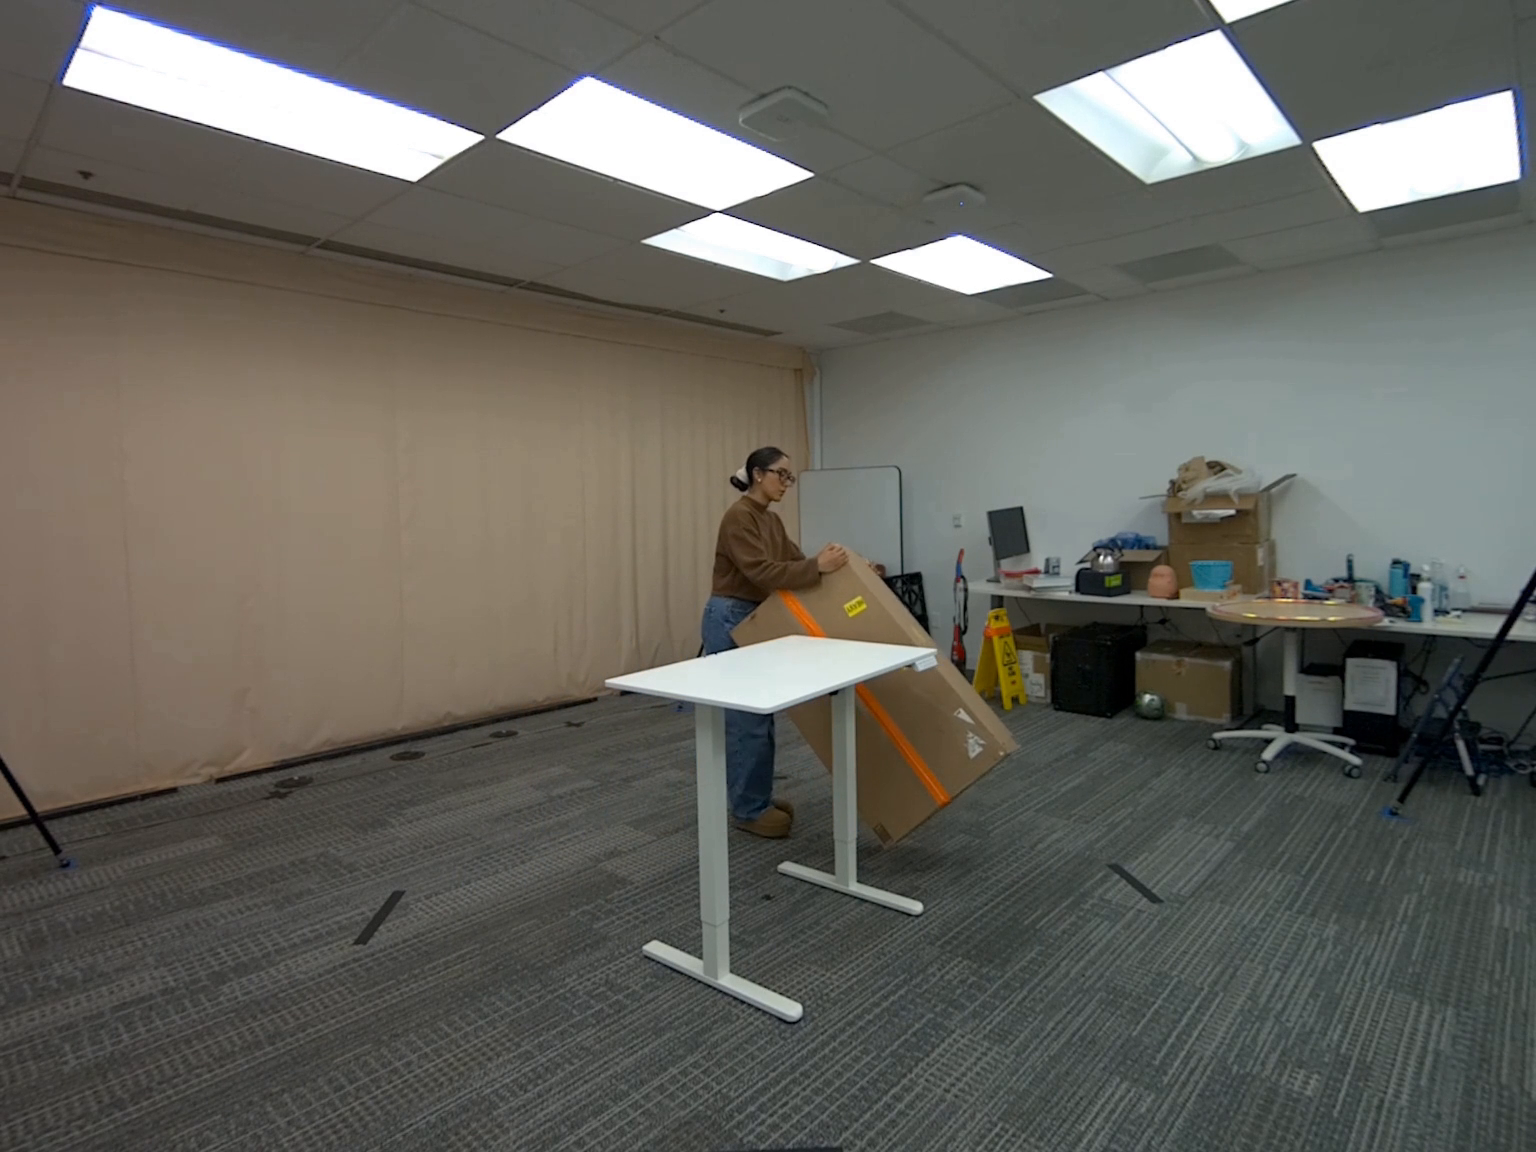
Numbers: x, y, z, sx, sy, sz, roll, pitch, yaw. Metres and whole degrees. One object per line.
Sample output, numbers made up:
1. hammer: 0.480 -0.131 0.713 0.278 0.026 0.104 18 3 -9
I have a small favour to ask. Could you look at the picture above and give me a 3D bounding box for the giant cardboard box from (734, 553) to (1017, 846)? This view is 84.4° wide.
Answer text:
1. giant cardboard box: 0.424 0.460 3.381 0.580 1.051 0.414 -43 -22 13
